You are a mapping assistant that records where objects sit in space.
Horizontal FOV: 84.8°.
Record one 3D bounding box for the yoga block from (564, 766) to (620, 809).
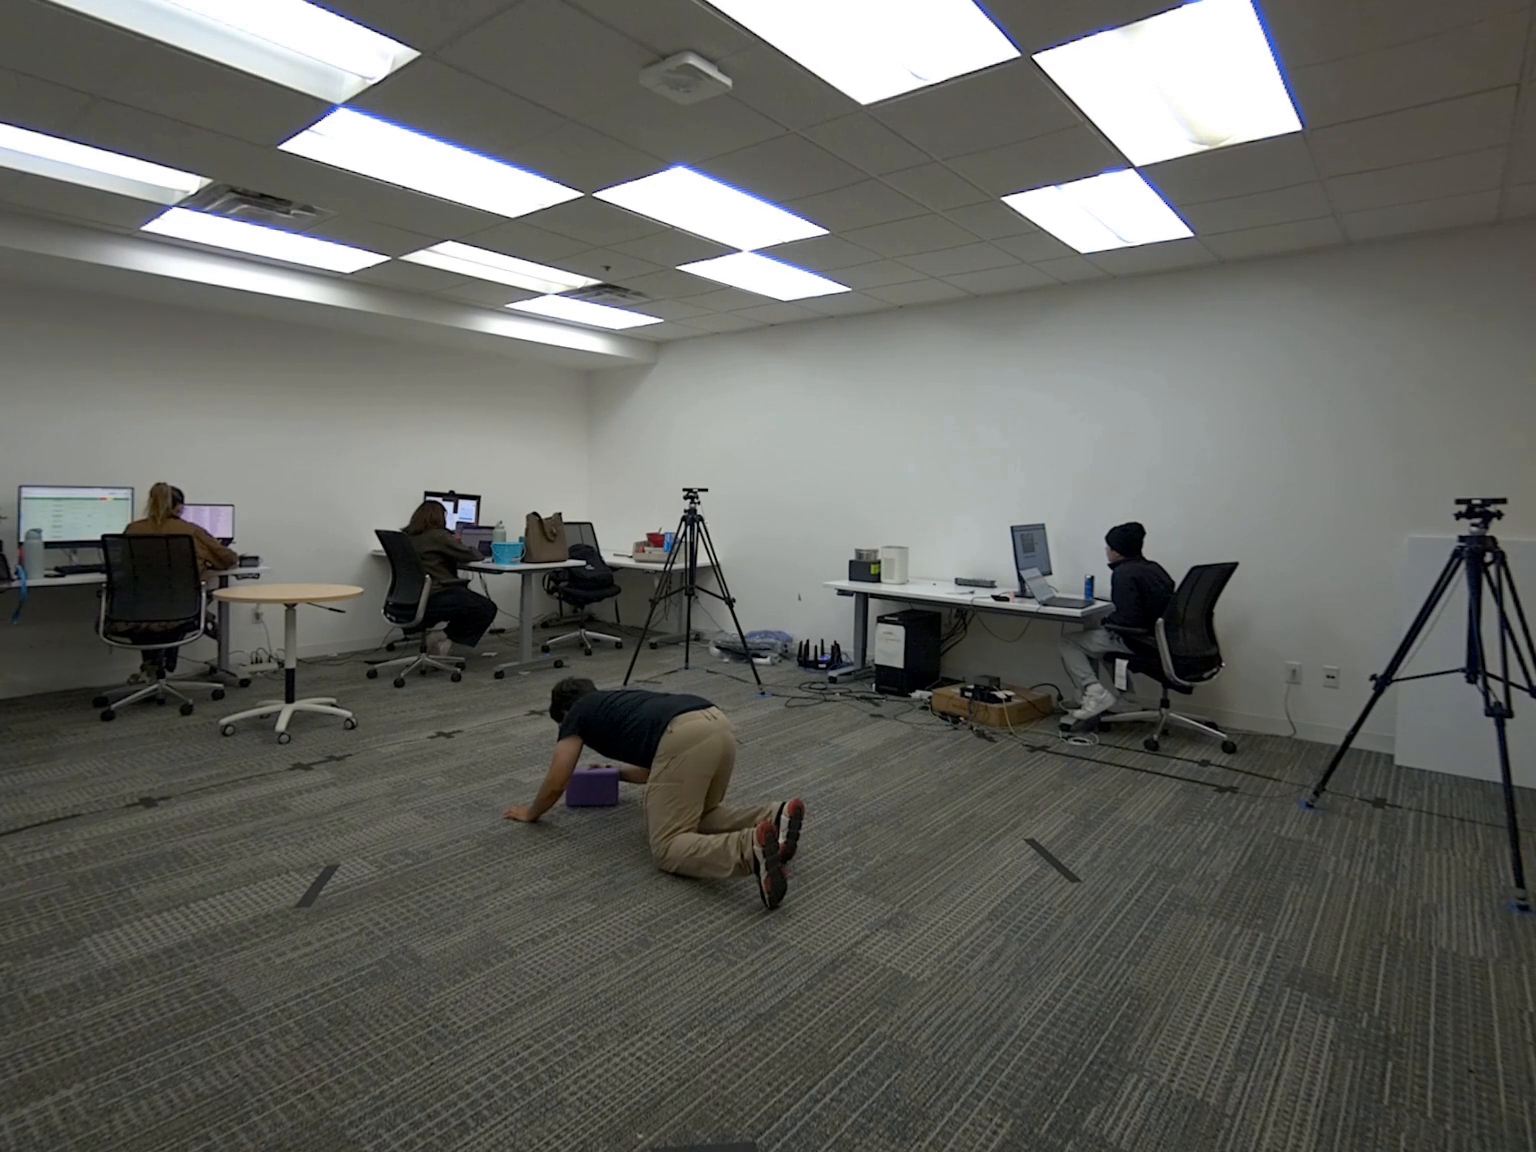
[{"bbox_3d":[-0.784,0.922,3.731,0.228,0.148,0.077,0,5,-5],"label":"yoga block"}]
